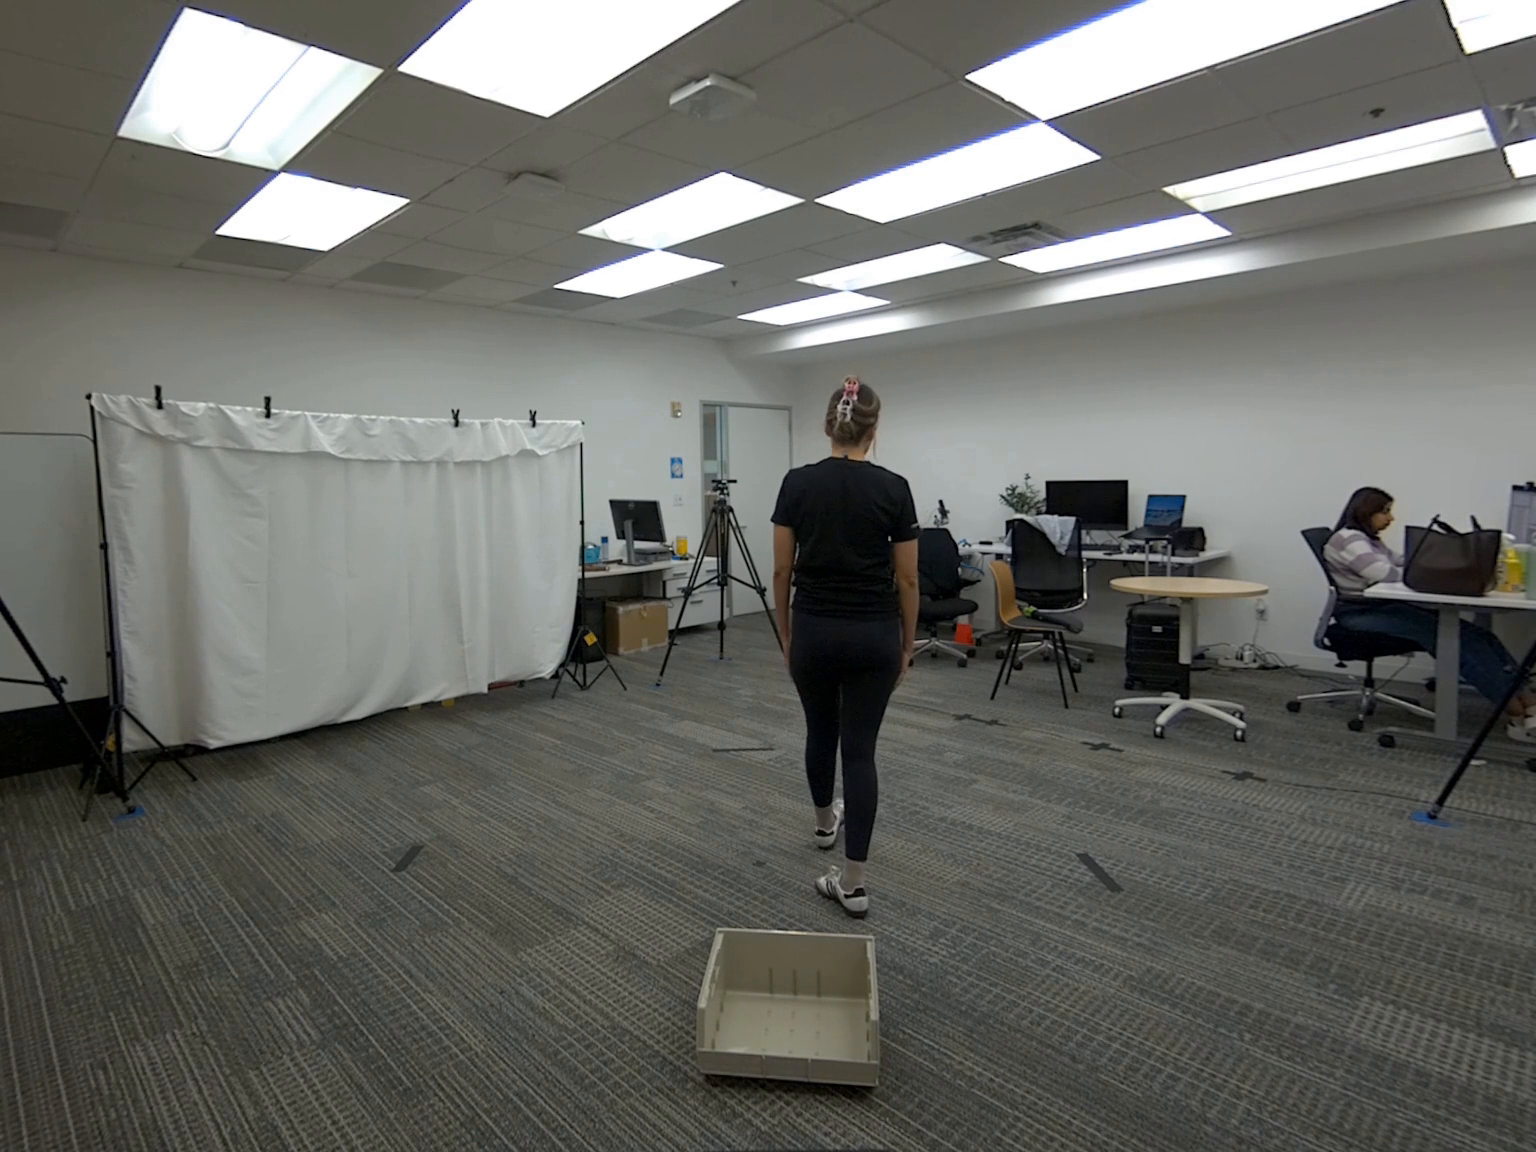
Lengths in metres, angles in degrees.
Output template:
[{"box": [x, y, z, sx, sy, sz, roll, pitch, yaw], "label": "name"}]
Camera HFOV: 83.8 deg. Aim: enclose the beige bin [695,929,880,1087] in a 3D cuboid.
[{"box": [0.066, 1.078, 2.111, 0.425, 0.188, 0.376, -1, 5, 6], "label": "beige bin"}]
